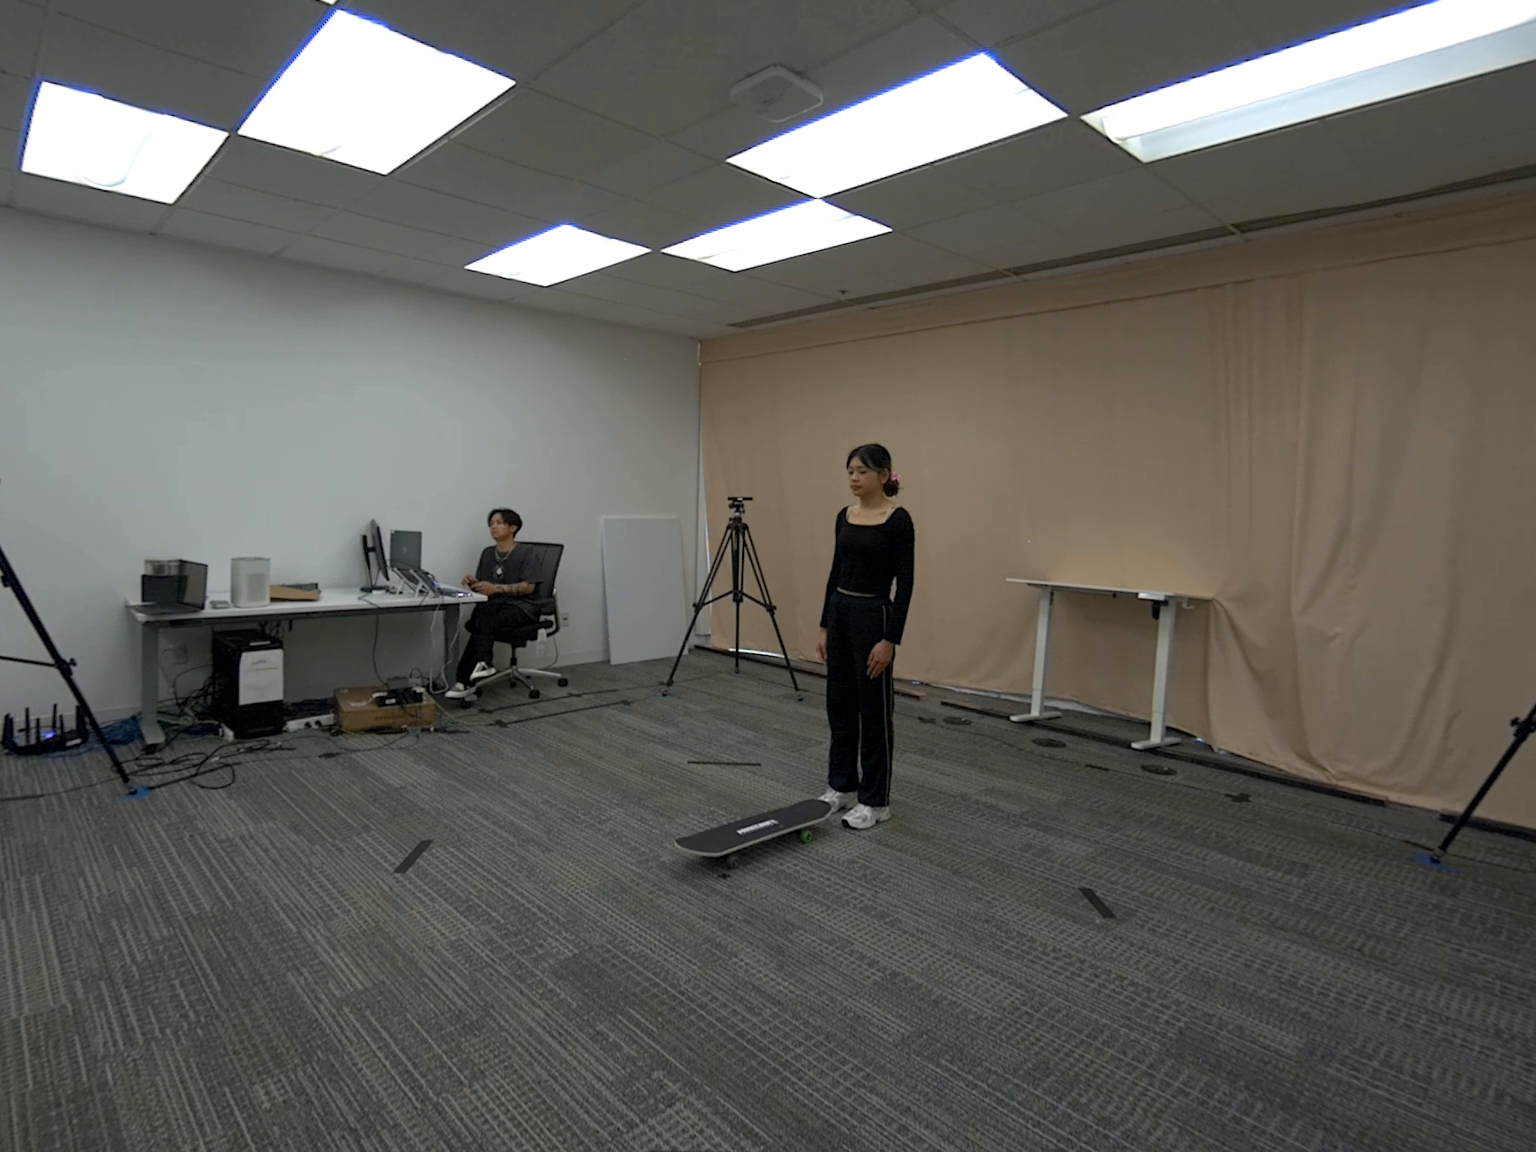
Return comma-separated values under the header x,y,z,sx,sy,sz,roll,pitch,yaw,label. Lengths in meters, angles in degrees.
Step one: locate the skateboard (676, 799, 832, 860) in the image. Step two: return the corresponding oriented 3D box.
x,y,z,sx,sy,sz,roll,pitch,yaw,label
-0.046,1.031,3.352,0.767,0.110,0.198,-3,7,-43,skateboard
